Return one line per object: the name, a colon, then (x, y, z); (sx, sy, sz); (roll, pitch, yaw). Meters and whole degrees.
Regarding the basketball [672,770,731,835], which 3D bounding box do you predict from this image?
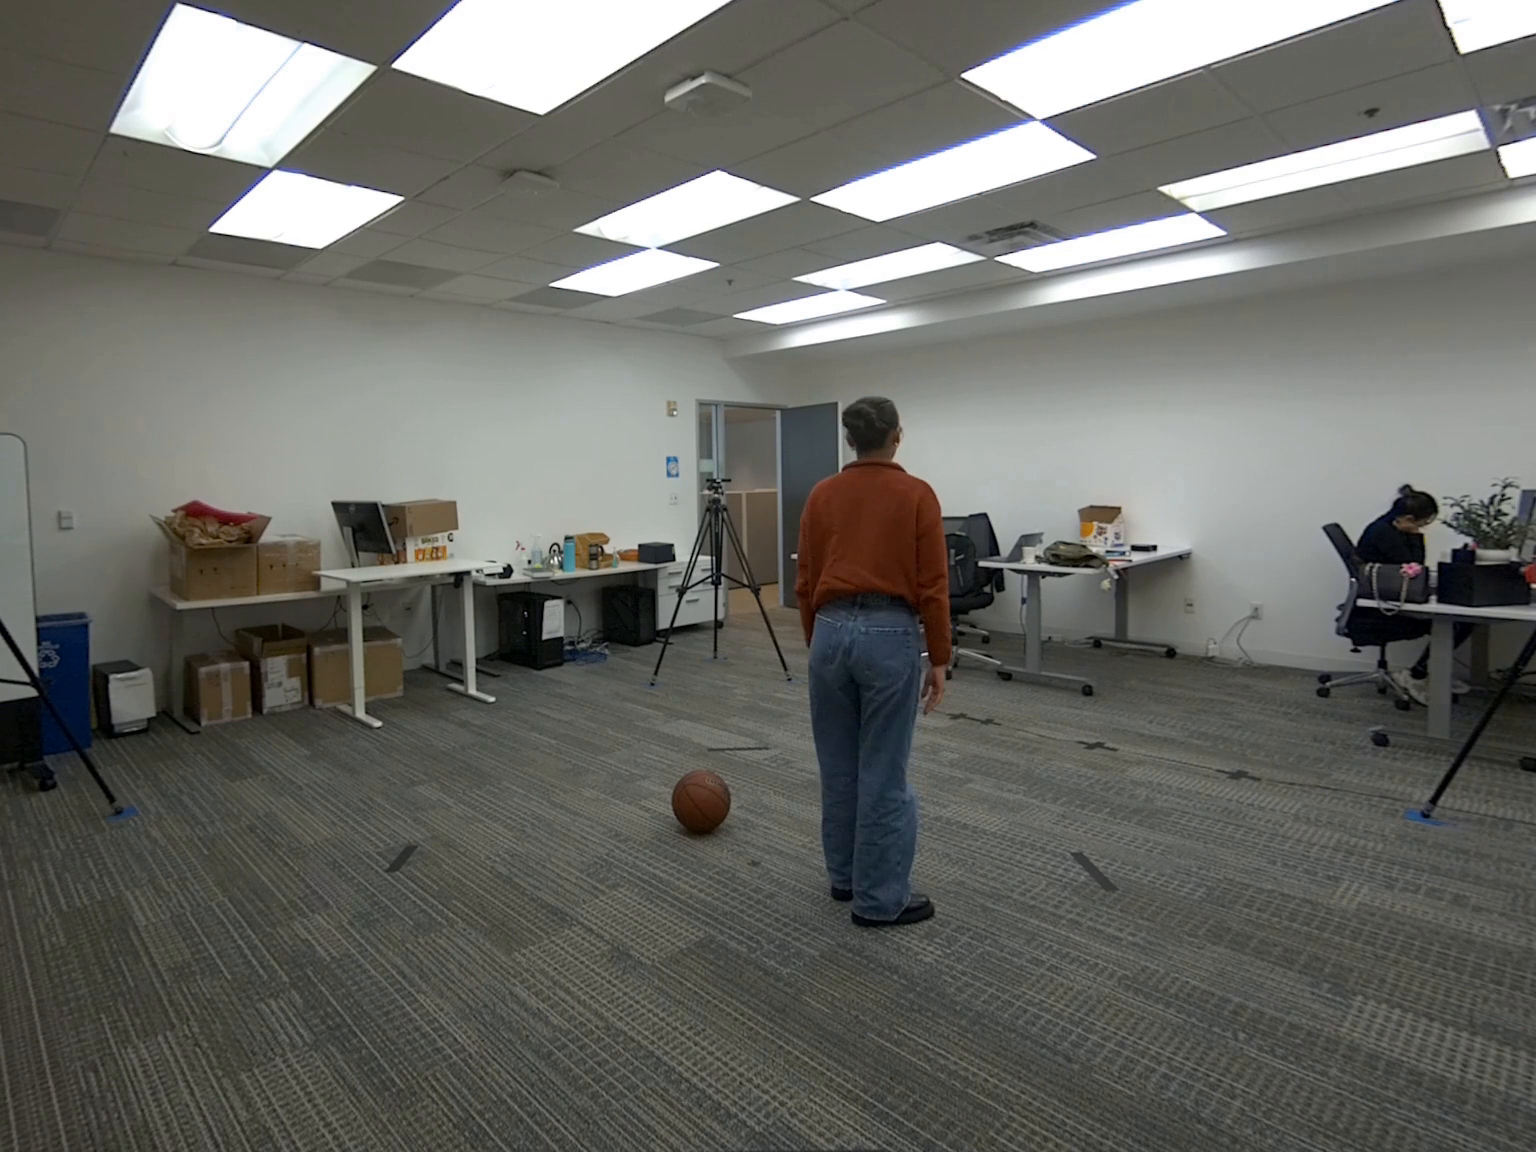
basketball: (-0.262, 0.889, 3.404); (0.236, 0.235, 0.237); (-1, 5, -2)
